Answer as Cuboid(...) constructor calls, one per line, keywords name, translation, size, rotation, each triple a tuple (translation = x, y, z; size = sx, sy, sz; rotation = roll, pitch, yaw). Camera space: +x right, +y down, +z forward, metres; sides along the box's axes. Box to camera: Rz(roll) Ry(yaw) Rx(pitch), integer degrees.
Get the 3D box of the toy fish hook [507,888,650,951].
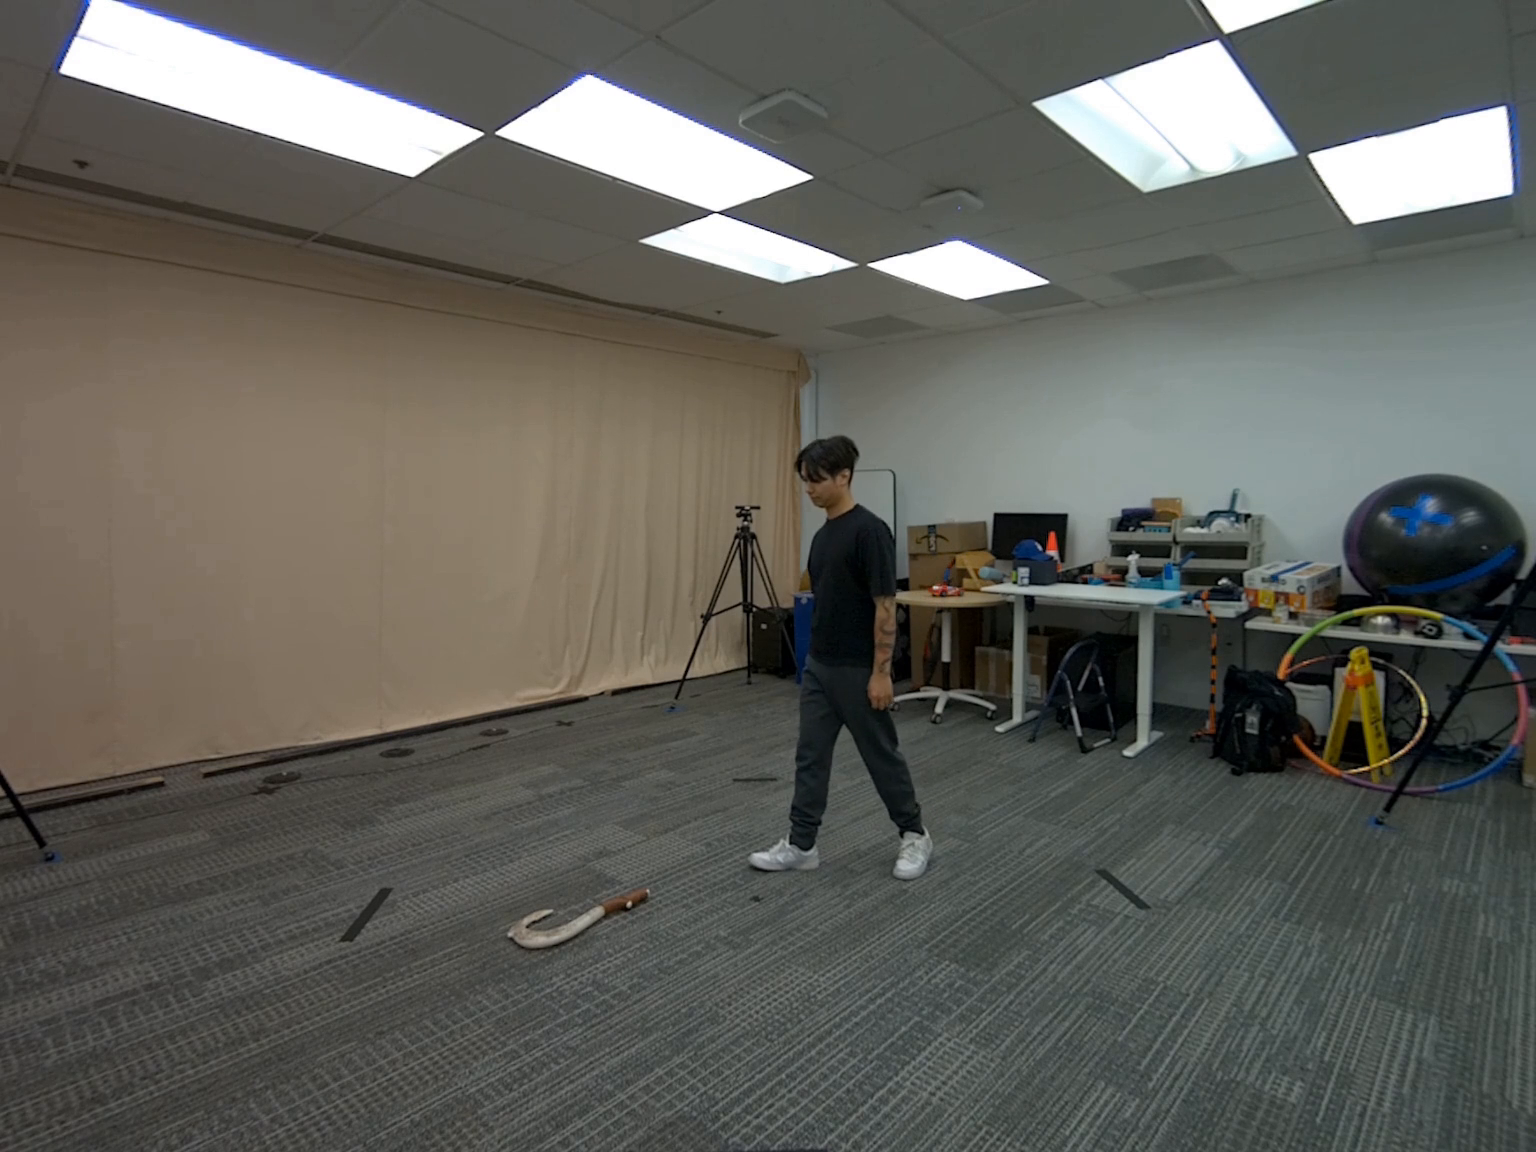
Cuboid(name="toy fish hook", translation=(-0.635, 1.138, 2.849), size=(0.491, 0.048, 0.232), rotation=(-4, 7, -45))
